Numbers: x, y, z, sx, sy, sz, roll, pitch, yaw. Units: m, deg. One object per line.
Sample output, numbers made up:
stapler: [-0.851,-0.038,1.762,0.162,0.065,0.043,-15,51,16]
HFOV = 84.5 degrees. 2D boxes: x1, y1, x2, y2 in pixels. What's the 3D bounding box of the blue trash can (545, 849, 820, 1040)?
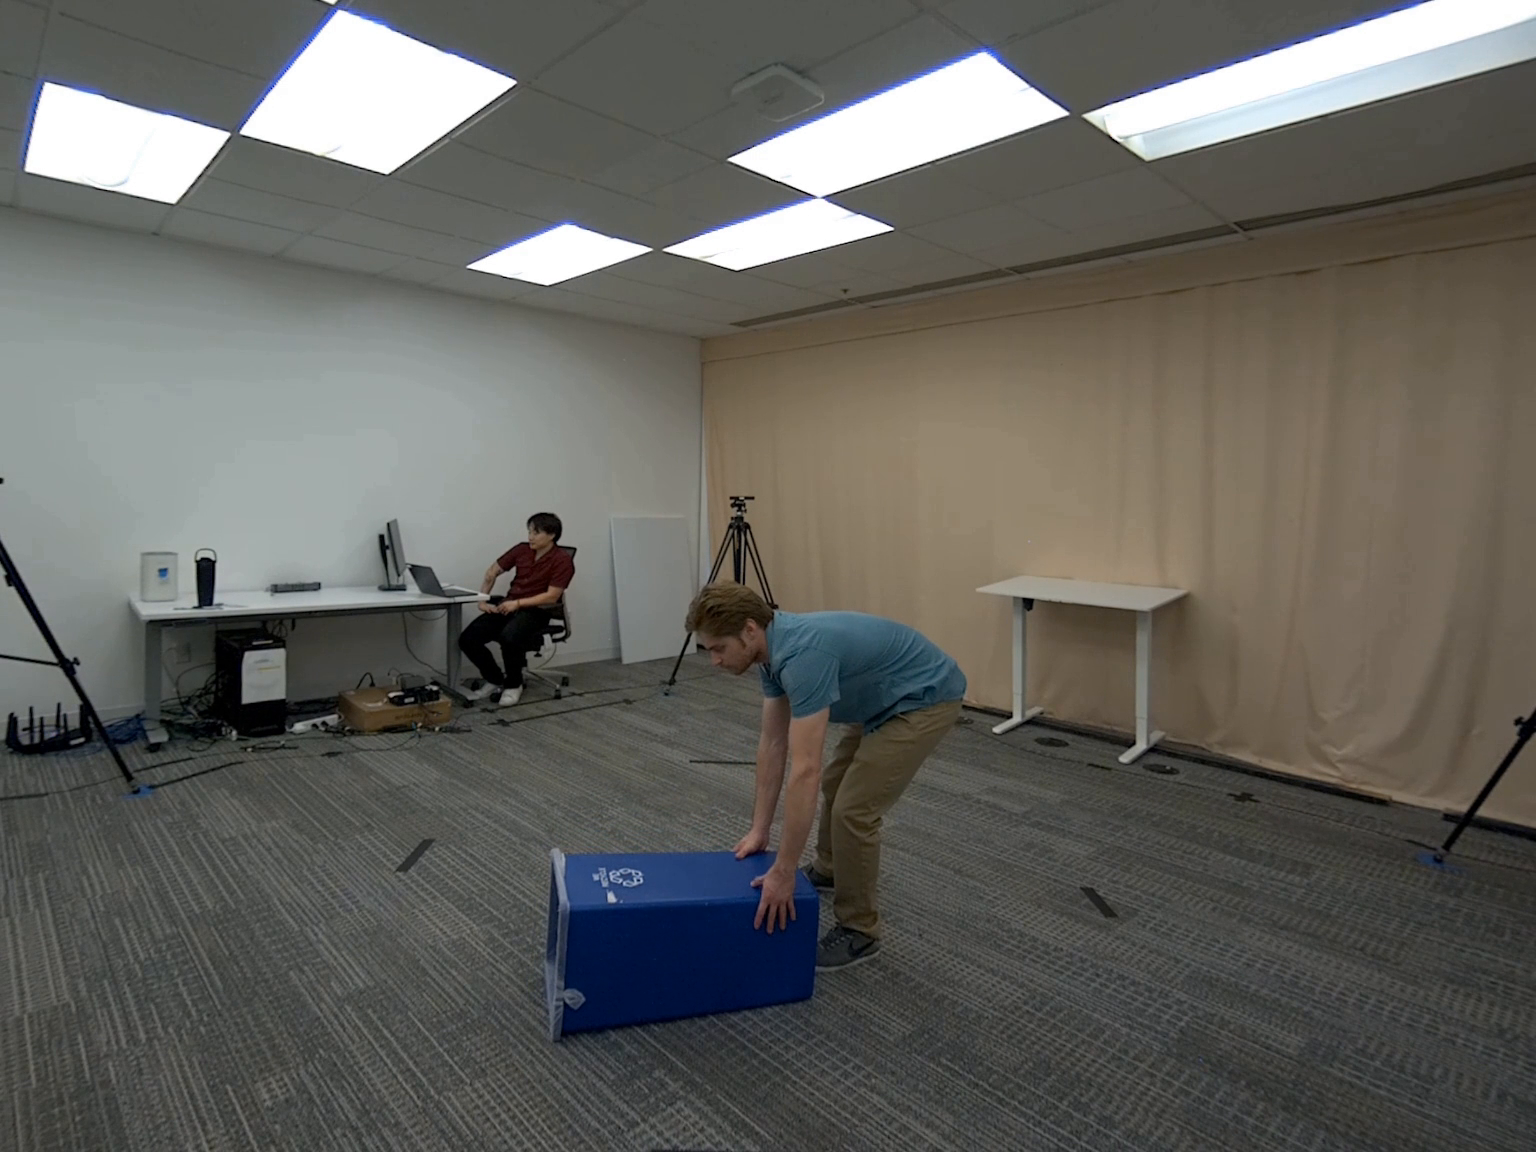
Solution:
blue trash can: [-0.257,0.999,2.374,0.704,0.377,0.380,4,4,-17]
